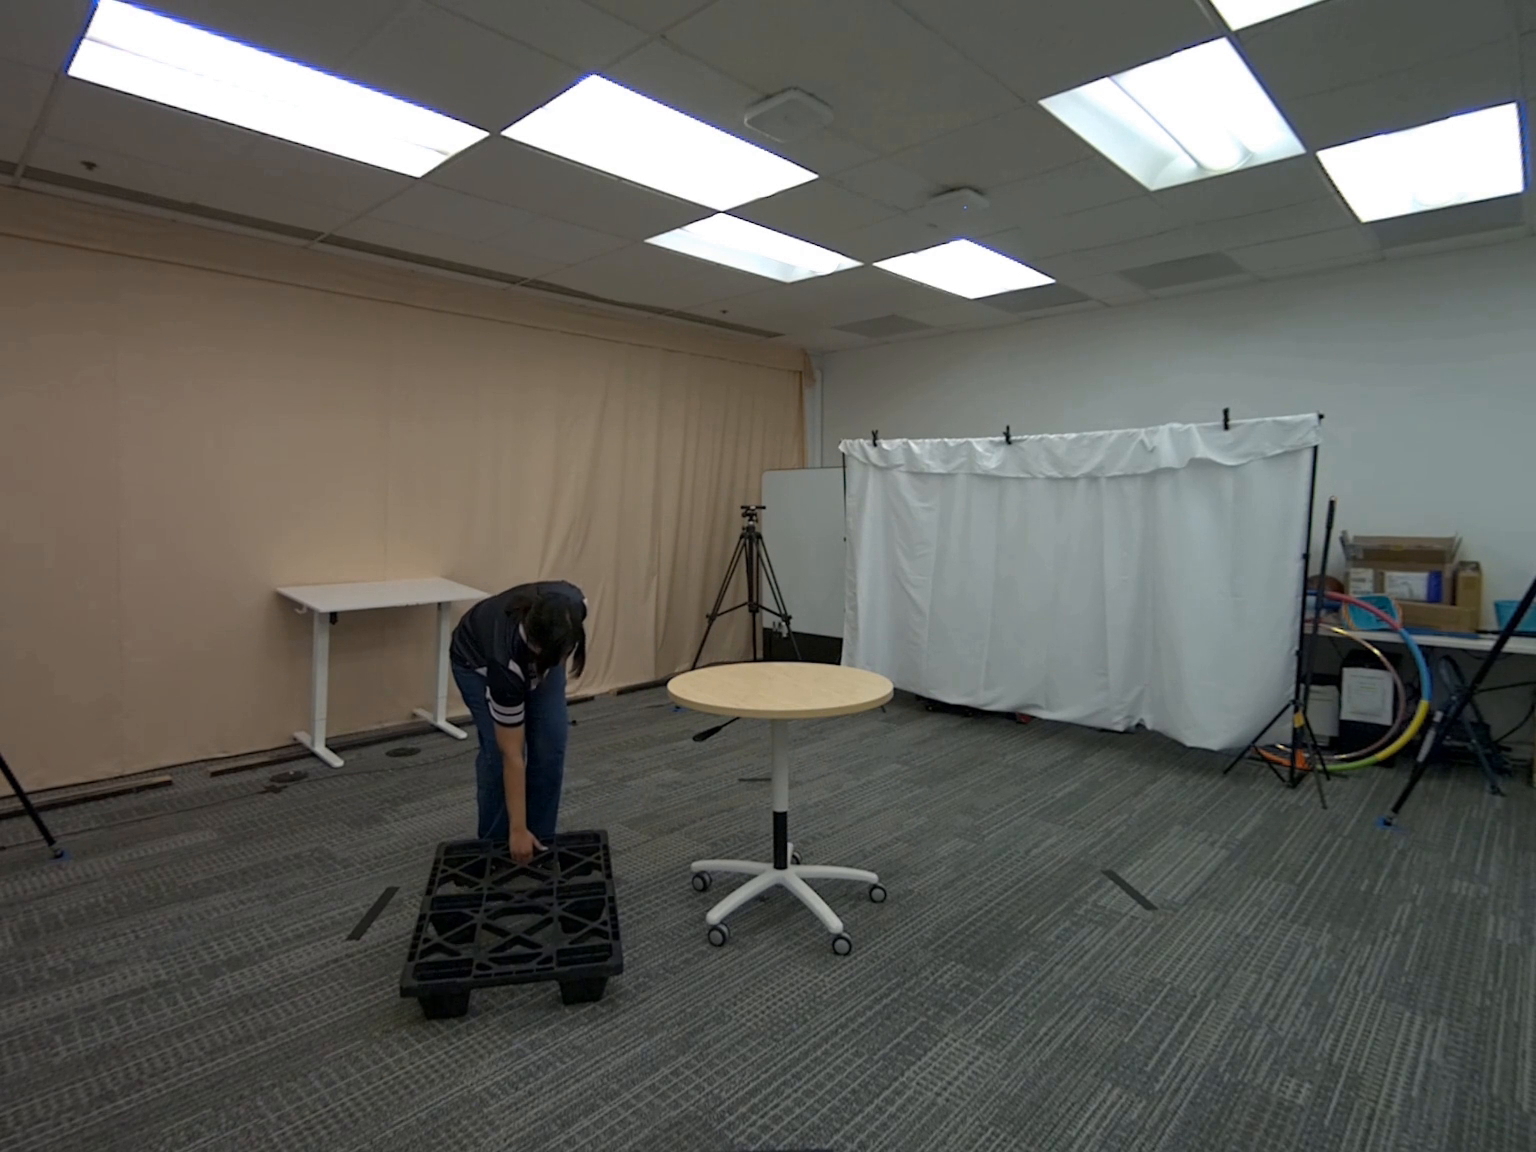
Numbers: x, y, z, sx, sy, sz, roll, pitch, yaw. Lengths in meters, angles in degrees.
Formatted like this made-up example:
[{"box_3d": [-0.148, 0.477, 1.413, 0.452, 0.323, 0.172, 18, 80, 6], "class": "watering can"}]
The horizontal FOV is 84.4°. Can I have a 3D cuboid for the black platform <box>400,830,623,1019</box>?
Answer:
[{"box_3d": [-0.781, 1.072, 2.672, 0.597, 0.142, 0.820, -1, 10, -13], "class": "black platform"}]
